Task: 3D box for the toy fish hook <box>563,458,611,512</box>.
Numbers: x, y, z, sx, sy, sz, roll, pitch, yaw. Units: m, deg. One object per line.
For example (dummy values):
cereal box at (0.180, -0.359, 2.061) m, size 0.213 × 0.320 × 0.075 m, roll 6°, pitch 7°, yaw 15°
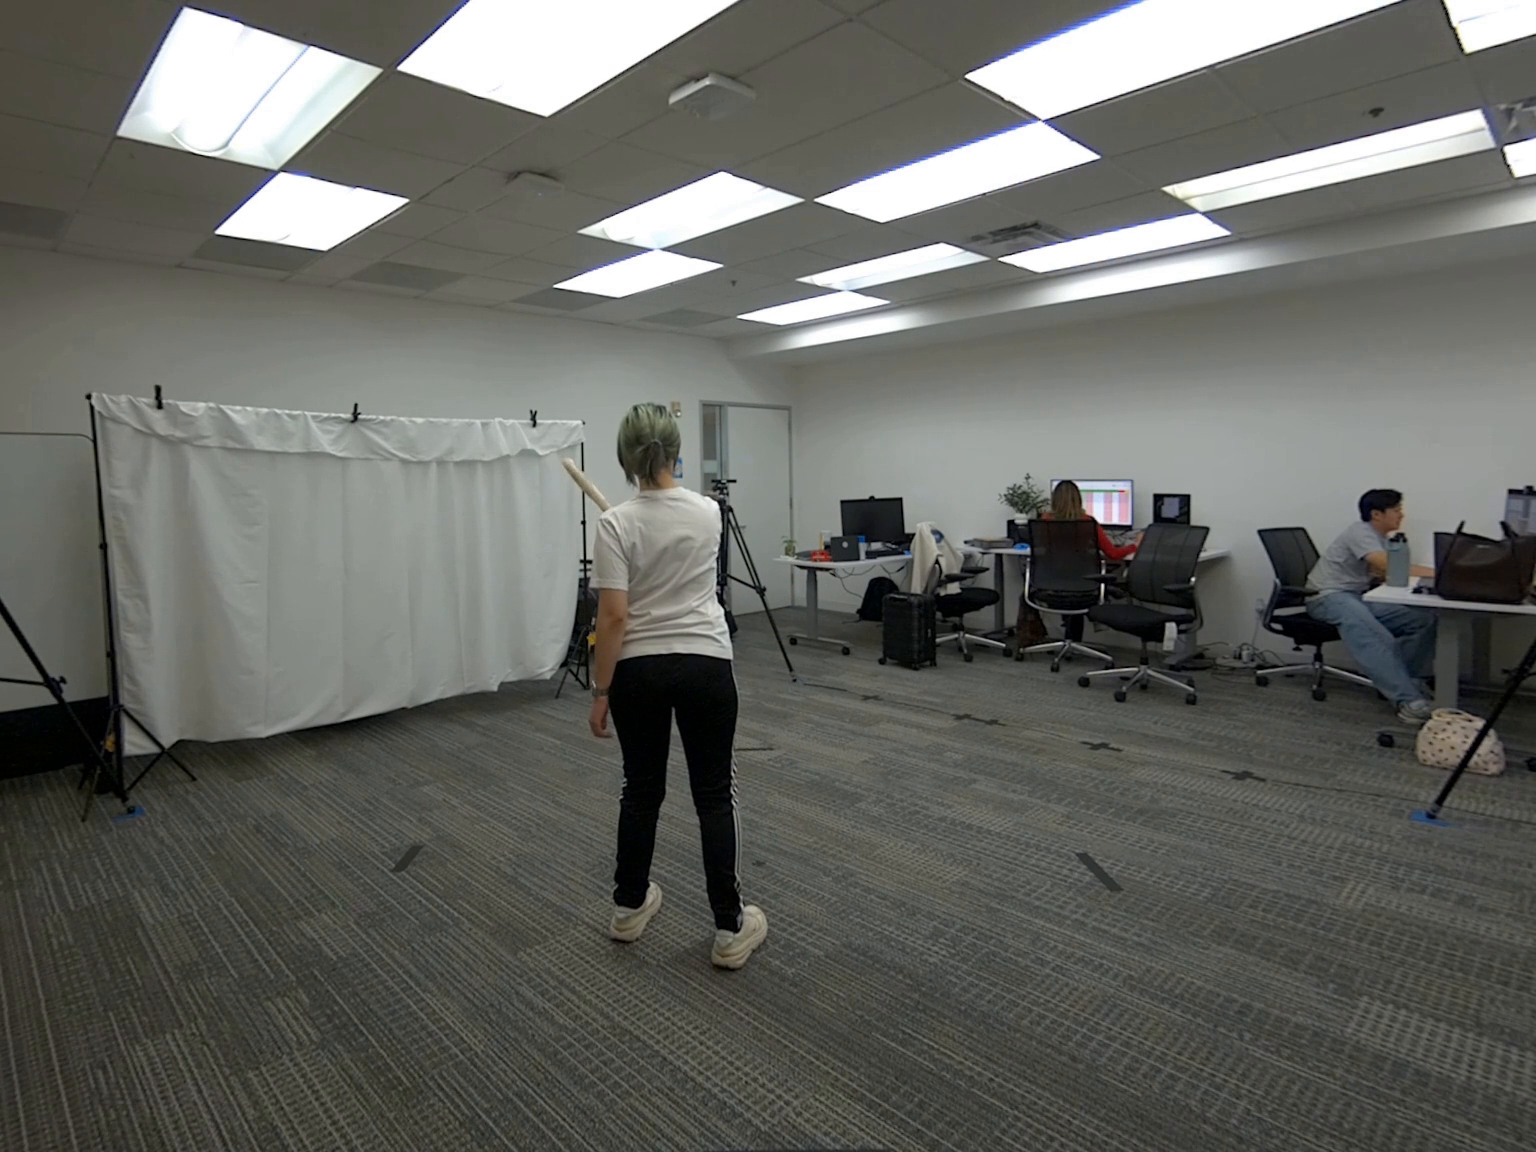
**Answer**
toy fish hook at (-0.591, -0.232, 3.187) m, size 0.048 × 0.515 × 0.221 m, roll -39°, pitch -12°, yaw -5°
